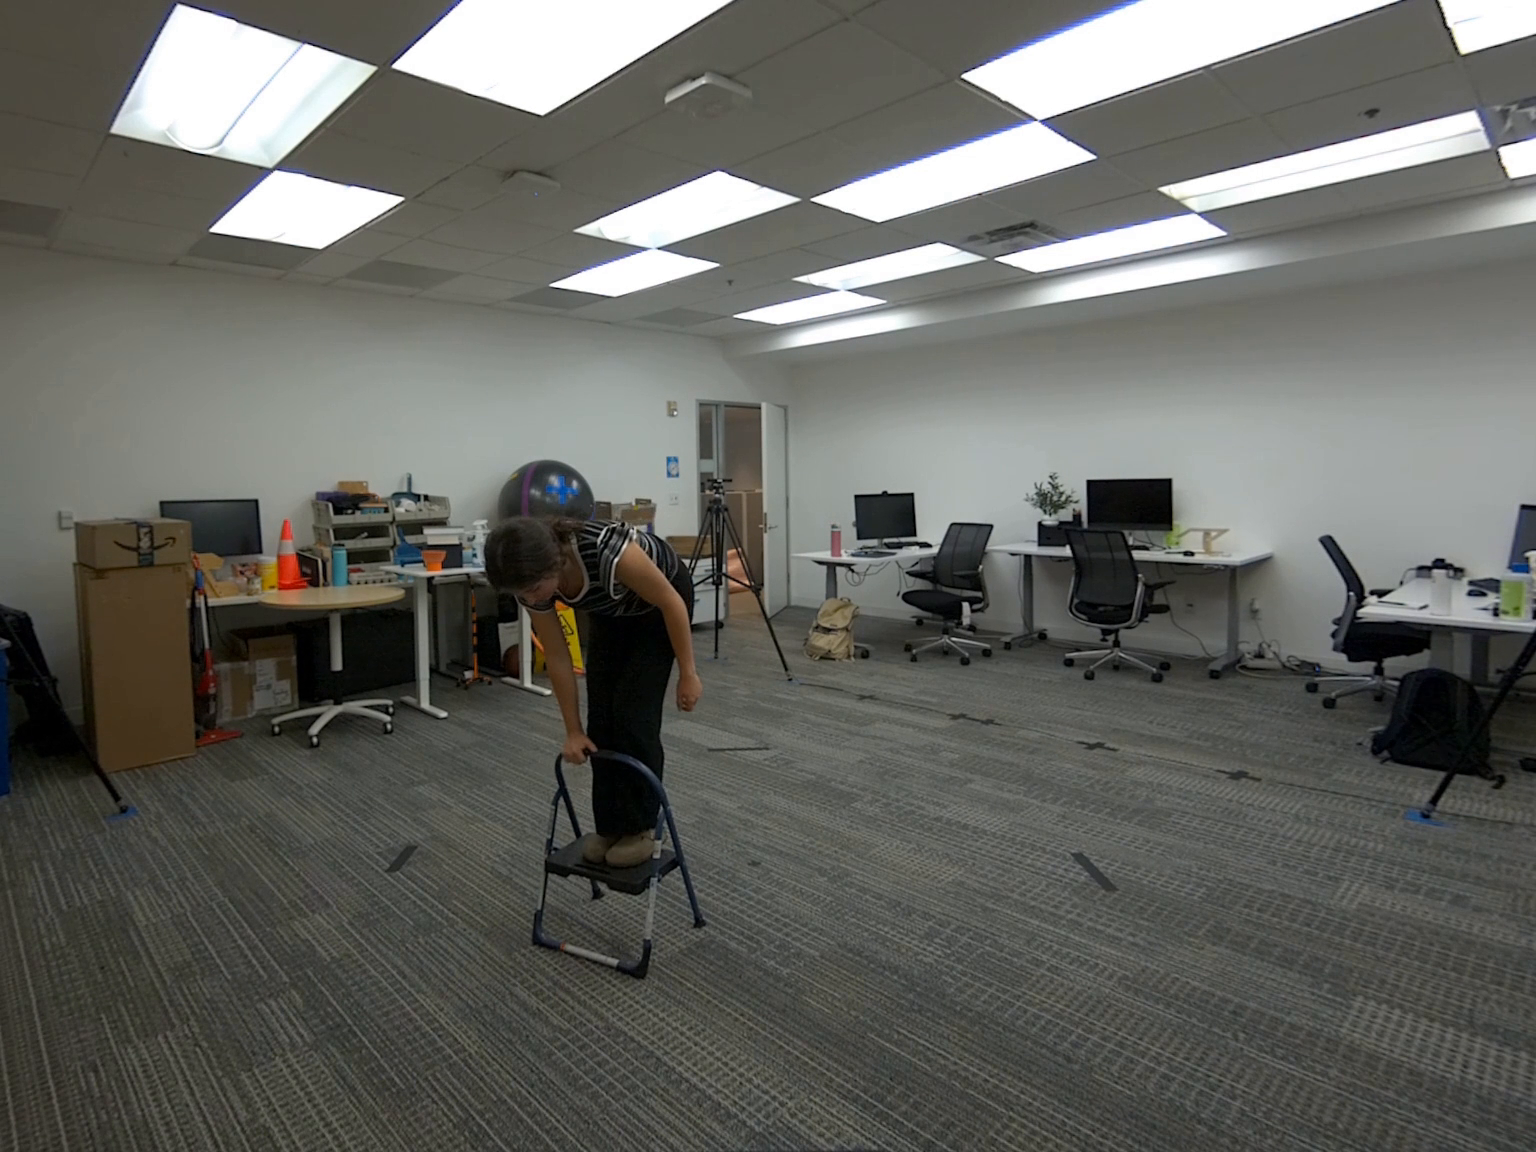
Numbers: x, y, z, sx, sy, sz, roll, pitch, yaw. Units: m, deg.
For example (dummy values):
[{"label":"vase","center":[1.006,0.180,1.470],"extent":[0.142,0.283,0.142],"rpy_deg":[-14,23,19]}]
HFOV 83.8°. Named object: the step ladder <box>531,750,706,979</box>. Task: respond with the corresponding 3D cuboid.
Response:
[{"label":"step ladder","center":[-0.466,0.809,2.625],"extent":[0.441,0.603,0.342],"rpy_deg":[1,5,27]}]
